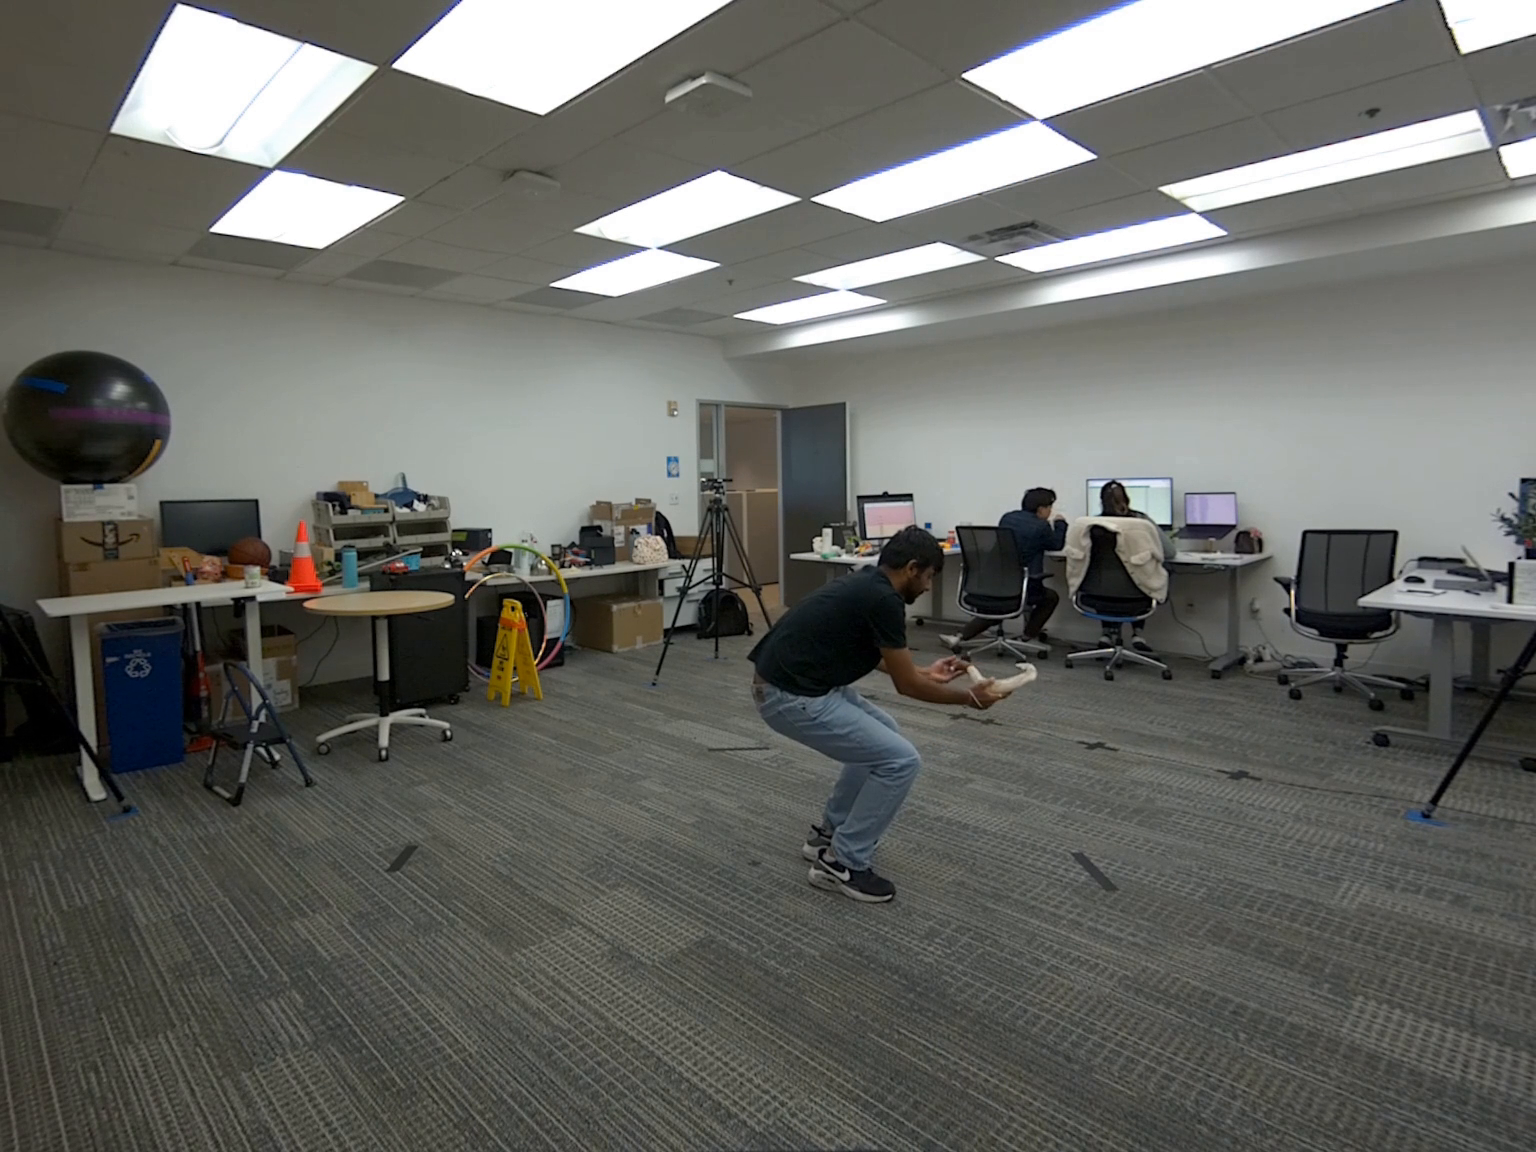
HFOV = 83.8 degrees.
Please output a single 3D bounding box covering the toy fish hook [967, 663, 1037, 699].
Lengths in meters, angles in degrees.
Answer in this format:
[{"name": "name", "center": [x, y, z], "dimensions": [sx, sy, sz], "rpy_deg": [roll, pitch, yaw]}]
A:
[{"name": "toy fish hook", "center": [0.809, 0.359, 3.199], "dimensions": [0.224, 0.048, 0.513], "rpy_deg": [-15, 9, -7]}]
